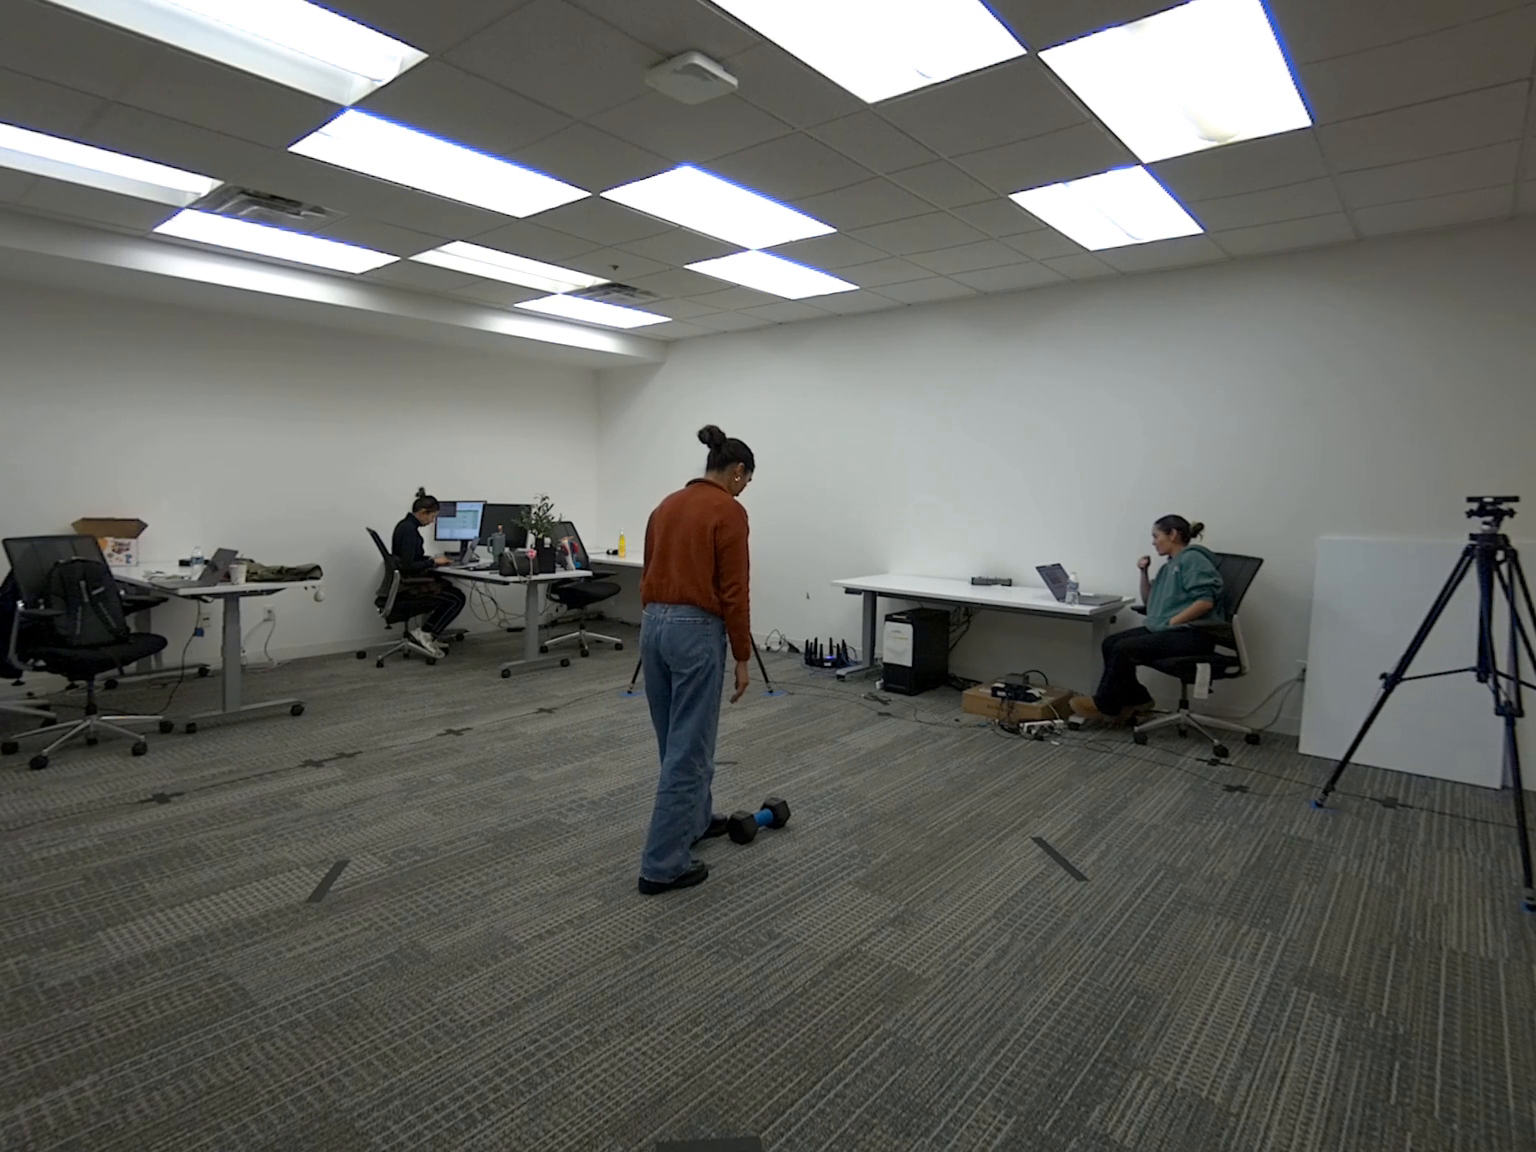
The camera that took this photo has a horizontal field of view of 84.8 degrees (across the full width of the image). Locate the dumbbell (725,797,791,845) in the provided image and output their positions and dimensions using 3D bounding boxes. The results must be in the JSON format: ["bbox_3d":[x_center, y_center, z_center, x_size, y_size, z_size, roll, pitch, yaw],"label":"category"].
[{"bbox_3d":[-0.048,0.982,3.435,0.127,0.108,0.285,3,6,40],"label":"dumbbell"}]
